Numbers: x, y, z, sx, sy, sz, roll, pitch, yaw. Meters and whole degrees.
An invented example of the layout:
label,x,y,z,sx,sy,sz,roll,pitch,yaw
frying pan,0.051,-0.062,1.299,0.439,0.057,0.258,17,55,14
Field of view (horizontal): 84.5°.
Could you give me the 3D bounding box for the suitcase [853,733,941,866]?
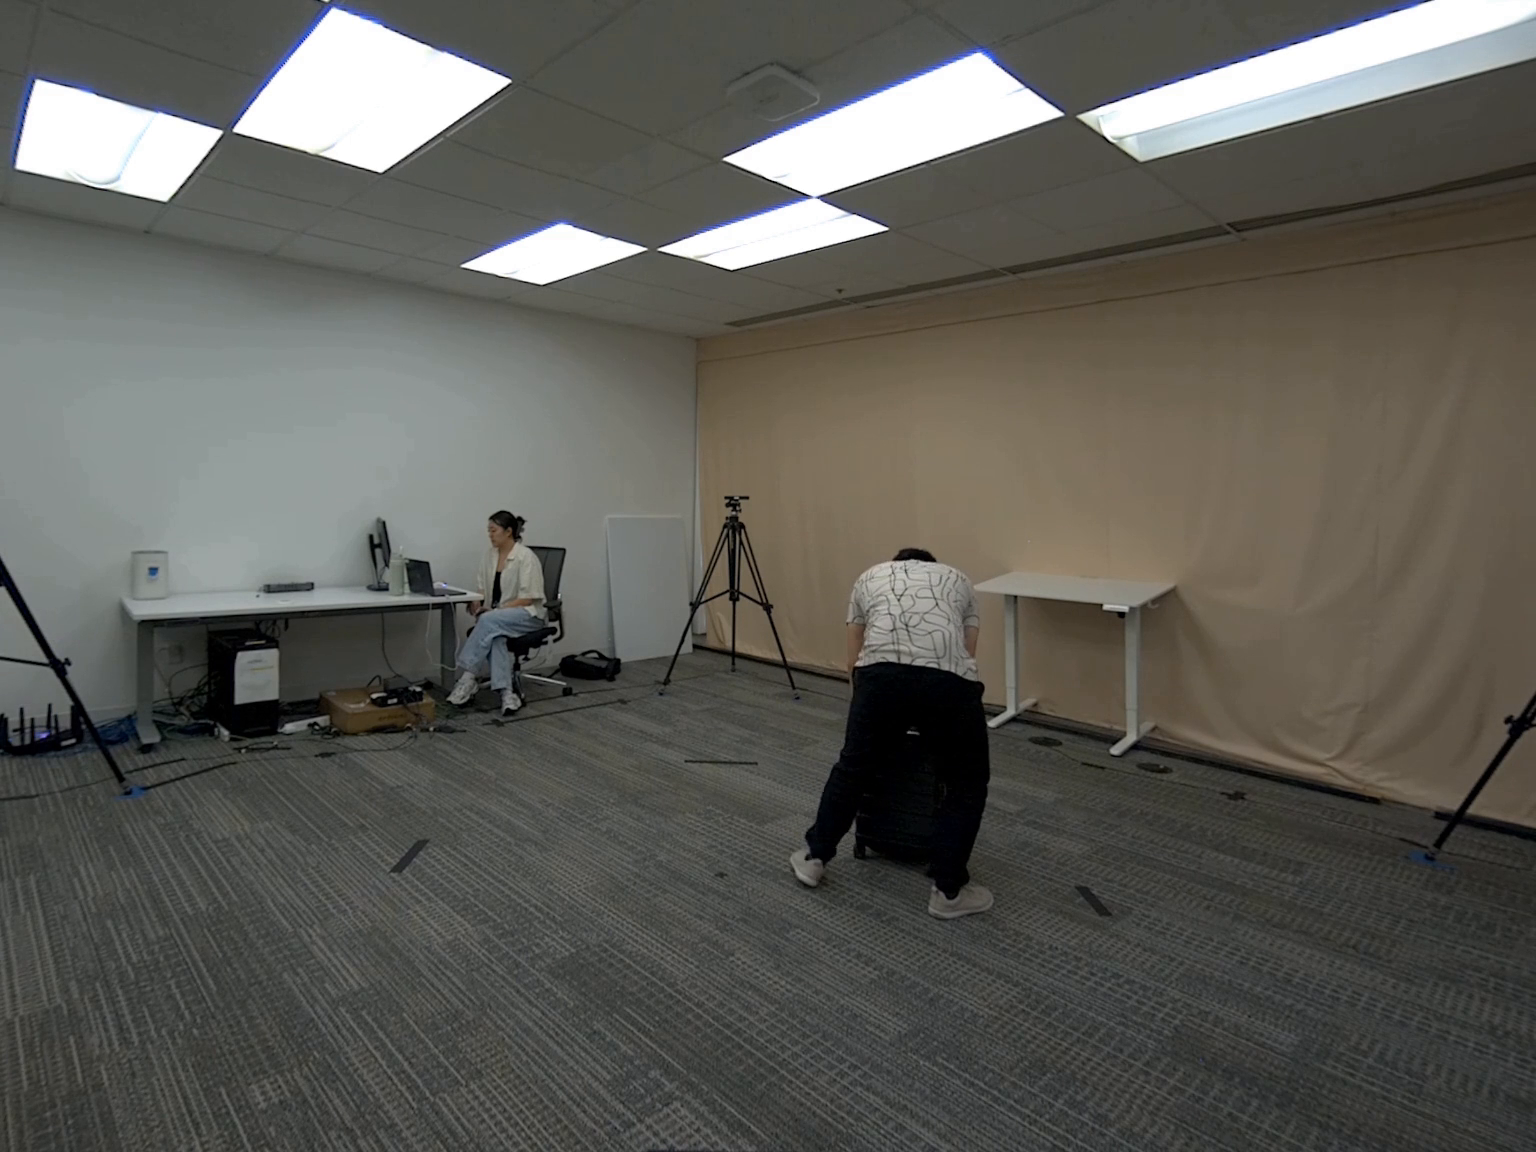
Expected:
label,x,y,z,sx,sy,sz,roll,pitch,yaw
suitcase,0.520,0.833,3.293,0.383,0.548,0.244,3,4,25
